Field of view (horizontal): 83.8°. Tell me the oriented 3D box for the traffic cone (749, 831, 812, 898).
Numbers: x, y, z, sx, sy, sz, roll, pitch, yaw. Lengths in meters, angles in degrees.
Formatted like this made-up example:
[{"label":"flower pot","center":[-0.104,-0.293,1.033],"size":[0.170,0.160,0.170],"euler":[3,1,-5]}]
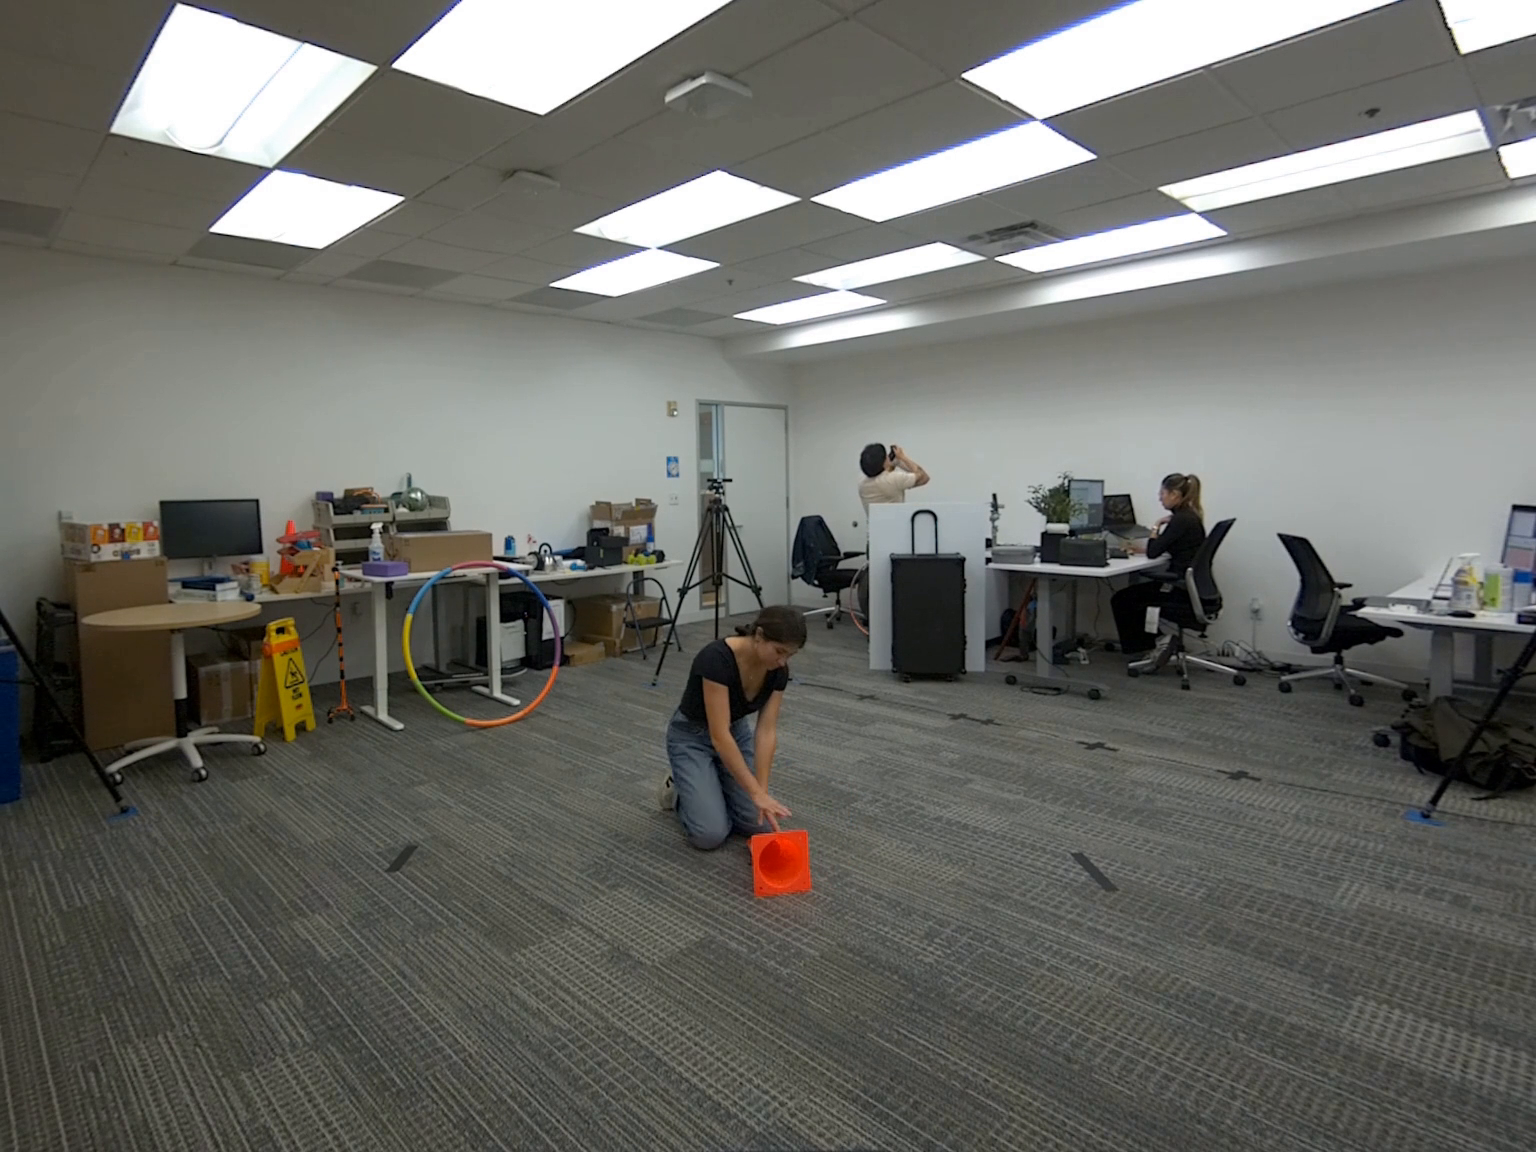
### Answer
[{"label":"traffic cone","center":[-0.007,0.993,3.079],"size":[0.201,0.206,0.386],"euler":[-4,-6,-15]}]
